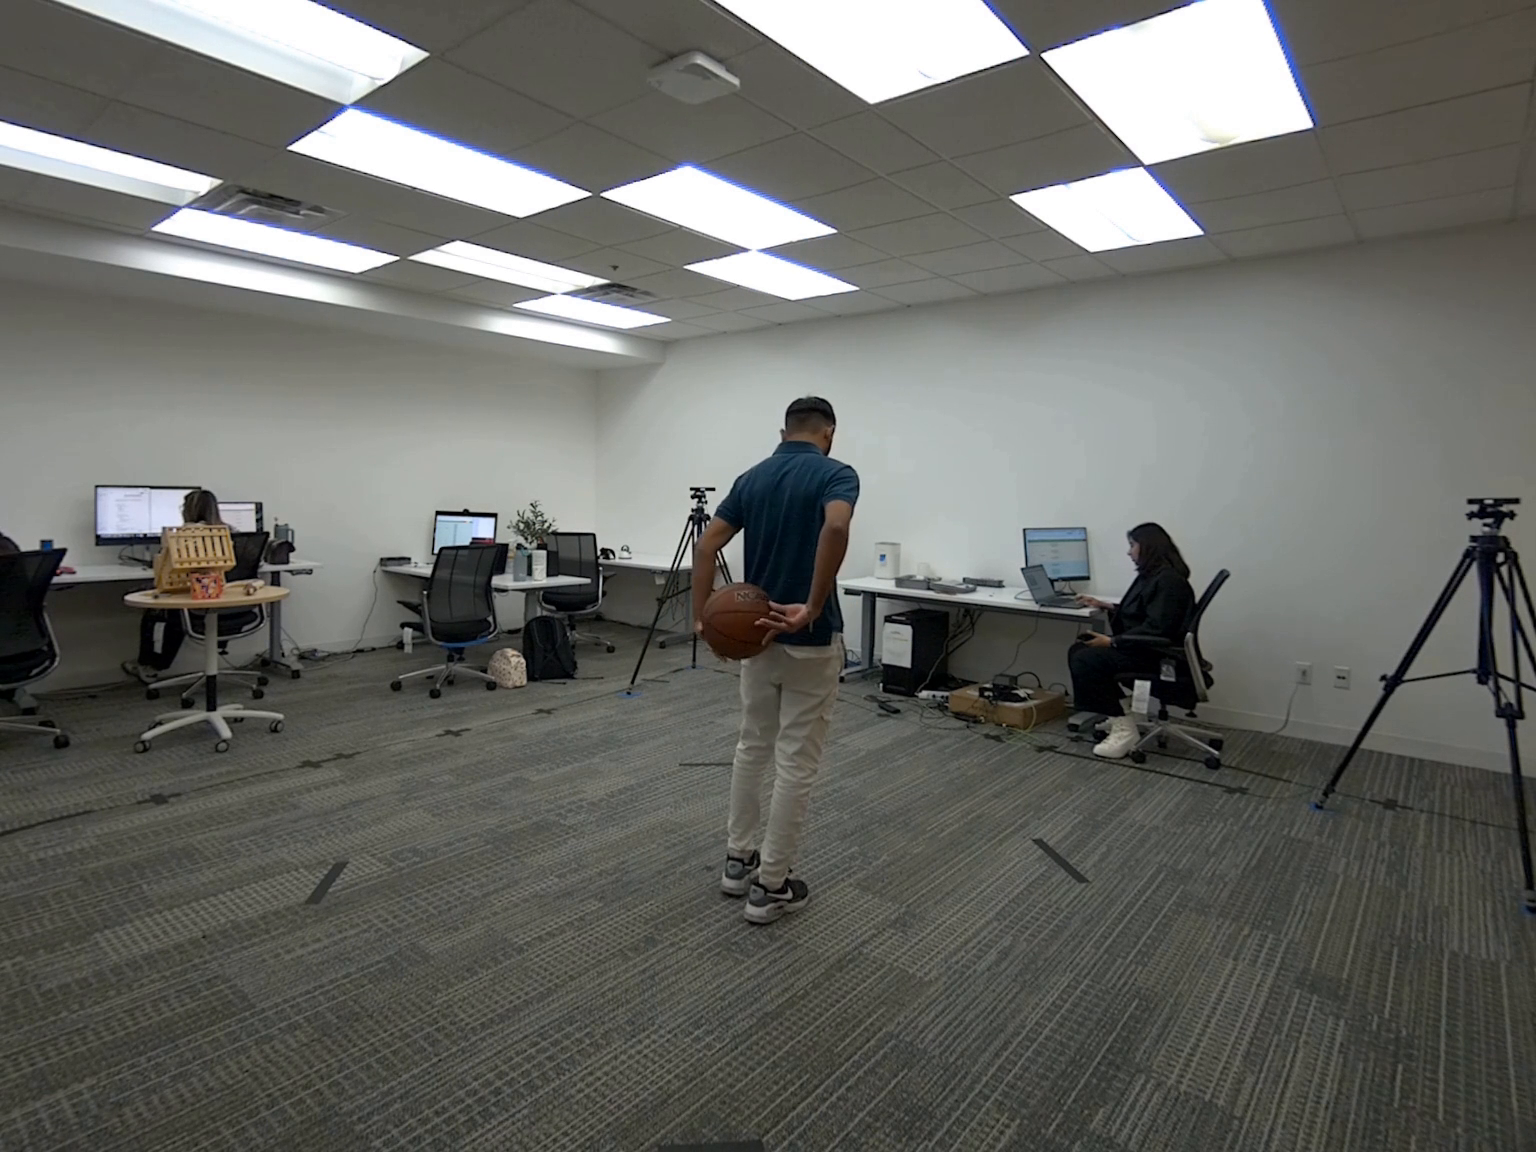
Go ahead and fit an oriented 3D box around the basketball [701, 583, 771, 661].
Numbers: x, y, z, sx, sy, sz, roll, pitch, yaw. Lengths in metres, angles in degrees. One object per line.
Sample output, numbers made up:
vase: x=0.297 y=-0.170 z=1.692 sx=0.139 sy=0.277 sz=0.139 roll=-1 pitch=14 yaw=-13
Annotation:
basketball: x=-0.087 y=0.124 z=2.658 sx=0.235 sy=0.235 sz=0.237 roll=1 pitch=4 yaw=-2
